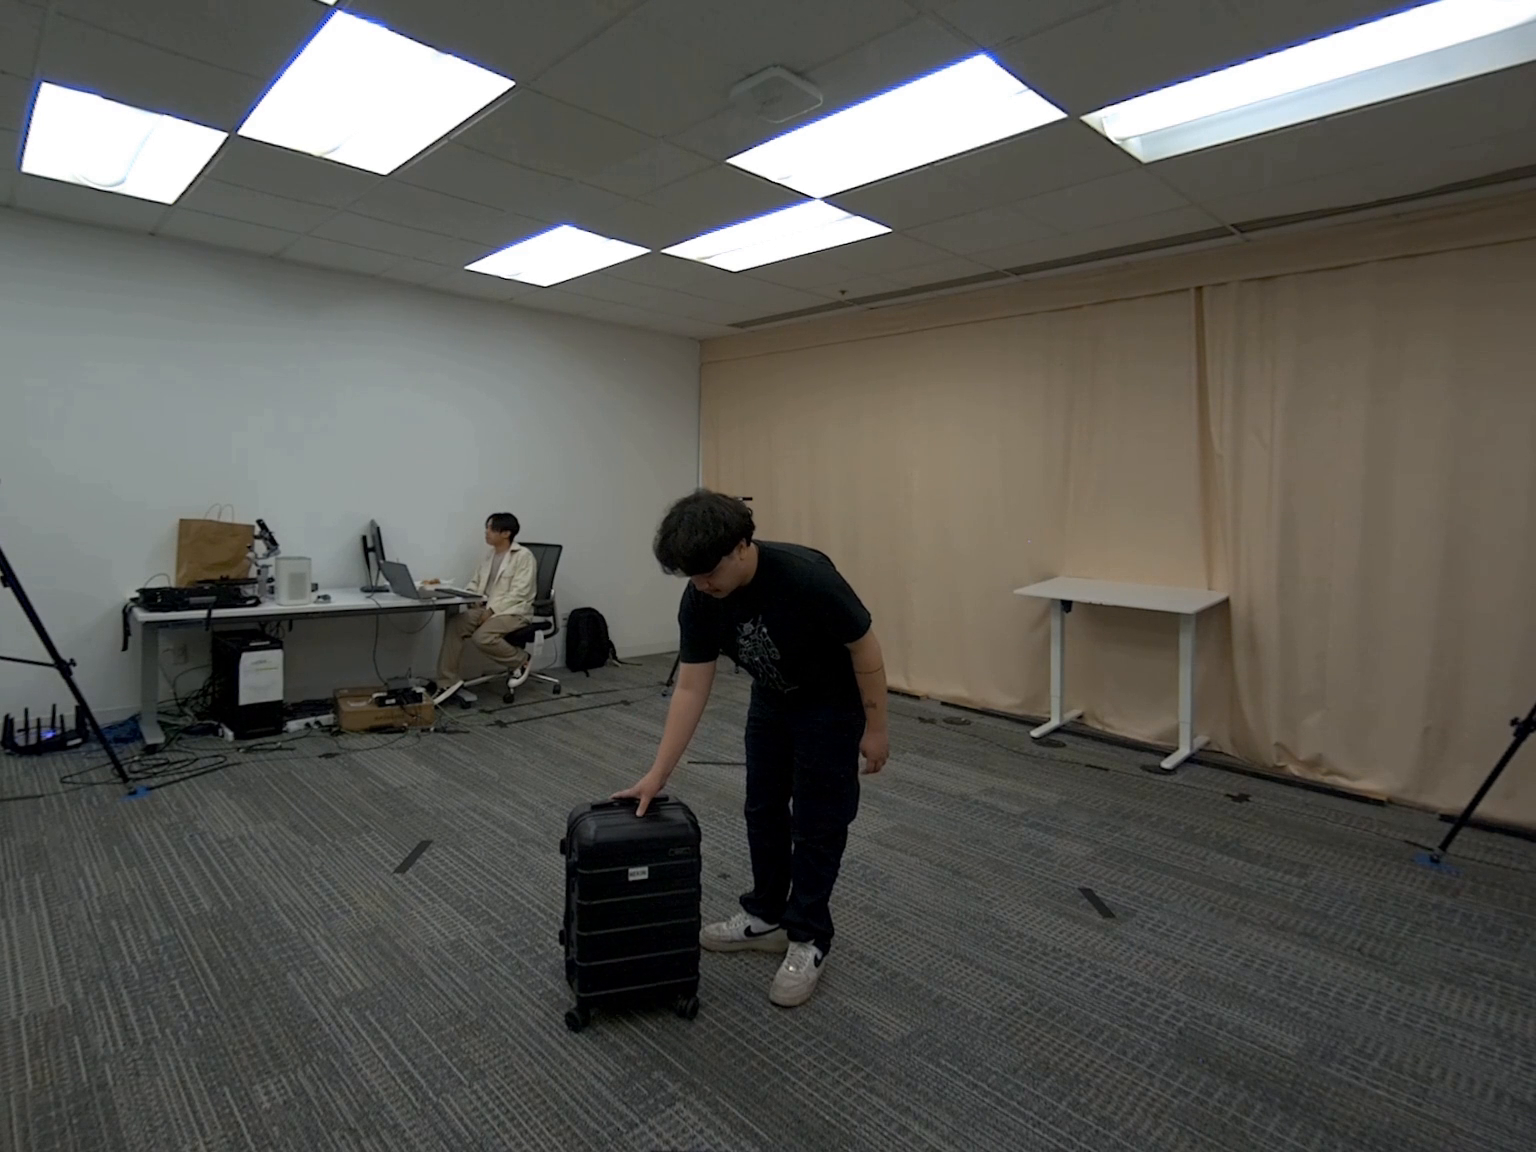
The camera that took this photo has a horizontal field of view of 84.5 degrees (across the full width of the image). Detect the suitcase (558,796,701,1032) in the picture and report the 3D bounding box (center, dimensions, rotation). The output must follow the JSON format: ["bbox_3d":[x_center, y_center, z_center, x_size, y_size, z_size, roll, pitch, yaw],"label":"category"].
[{"bbox_3d":[-0.379,0.900,2.308,0.370,0.548,0.252,1,4,-18],"label":"suitcase"}]
